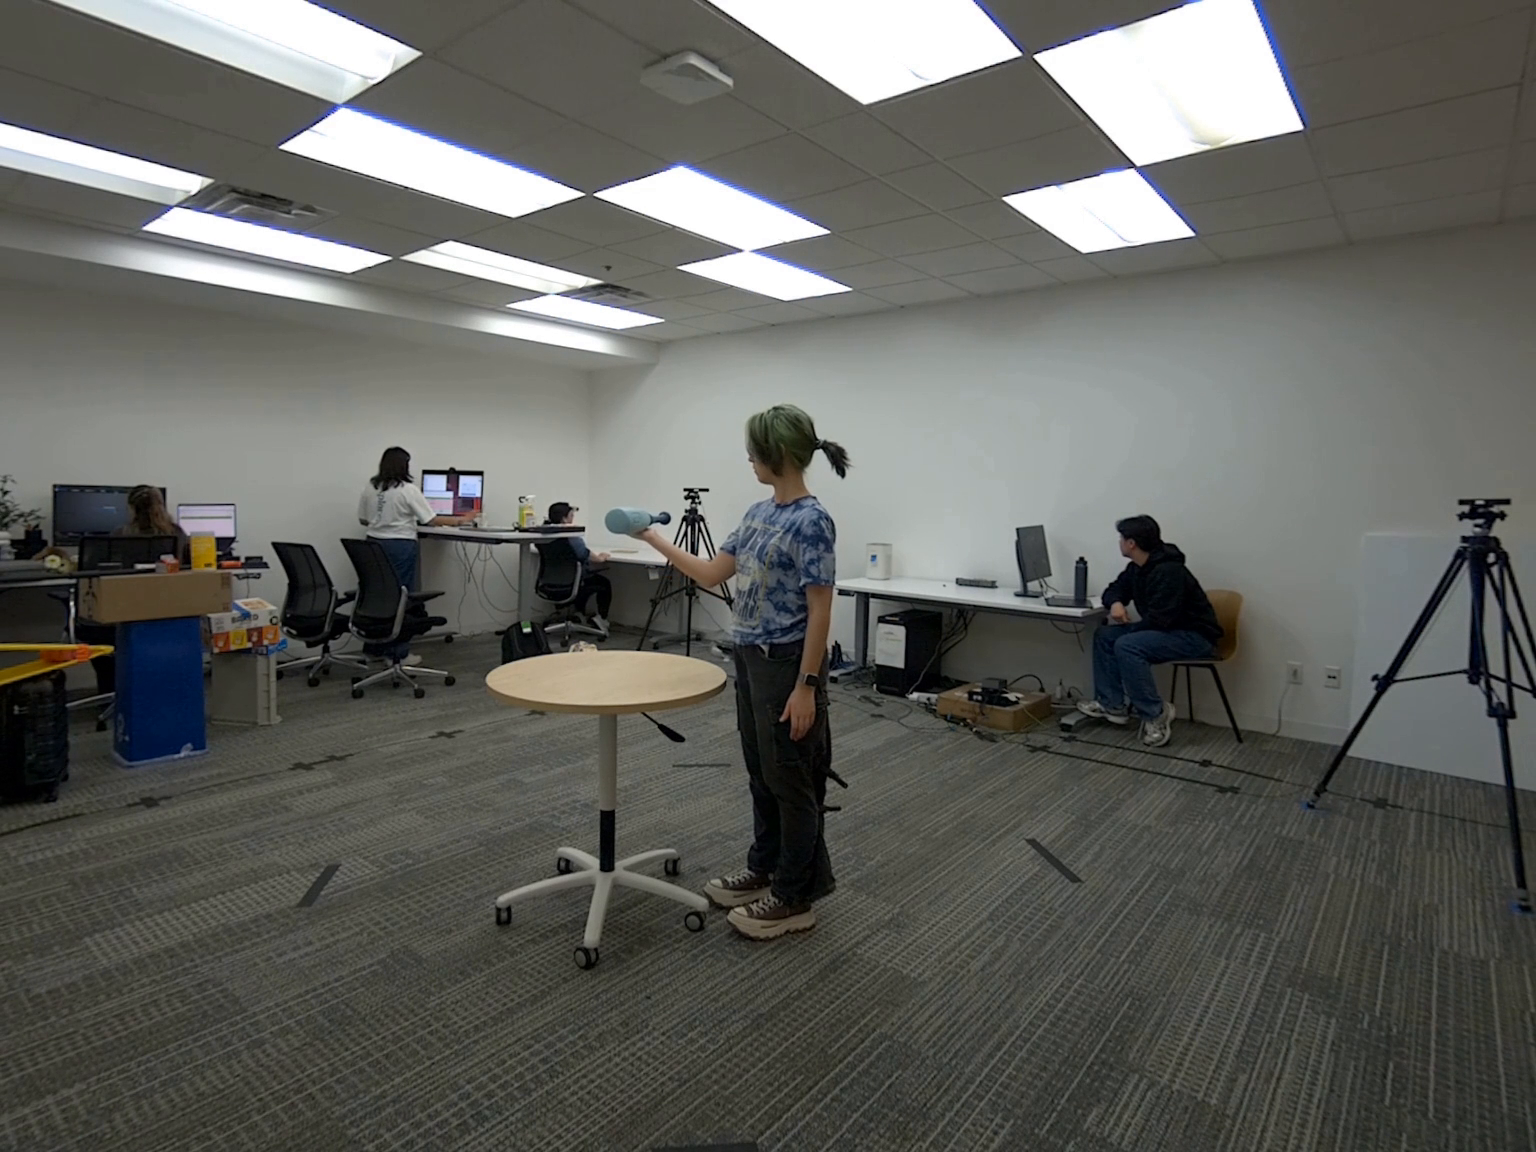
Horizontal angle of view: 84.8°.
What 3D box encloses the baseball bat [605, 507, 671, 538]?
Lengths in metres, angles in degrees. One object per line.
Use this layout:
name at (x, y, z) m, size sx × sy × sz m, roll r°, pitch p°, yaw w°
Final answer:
baseball bat at (-0.455, -0.195, 2.962) m, size 0.090 × 0.089 × 0.538 m, roll 1°, pitch 5°, yaw 9°
